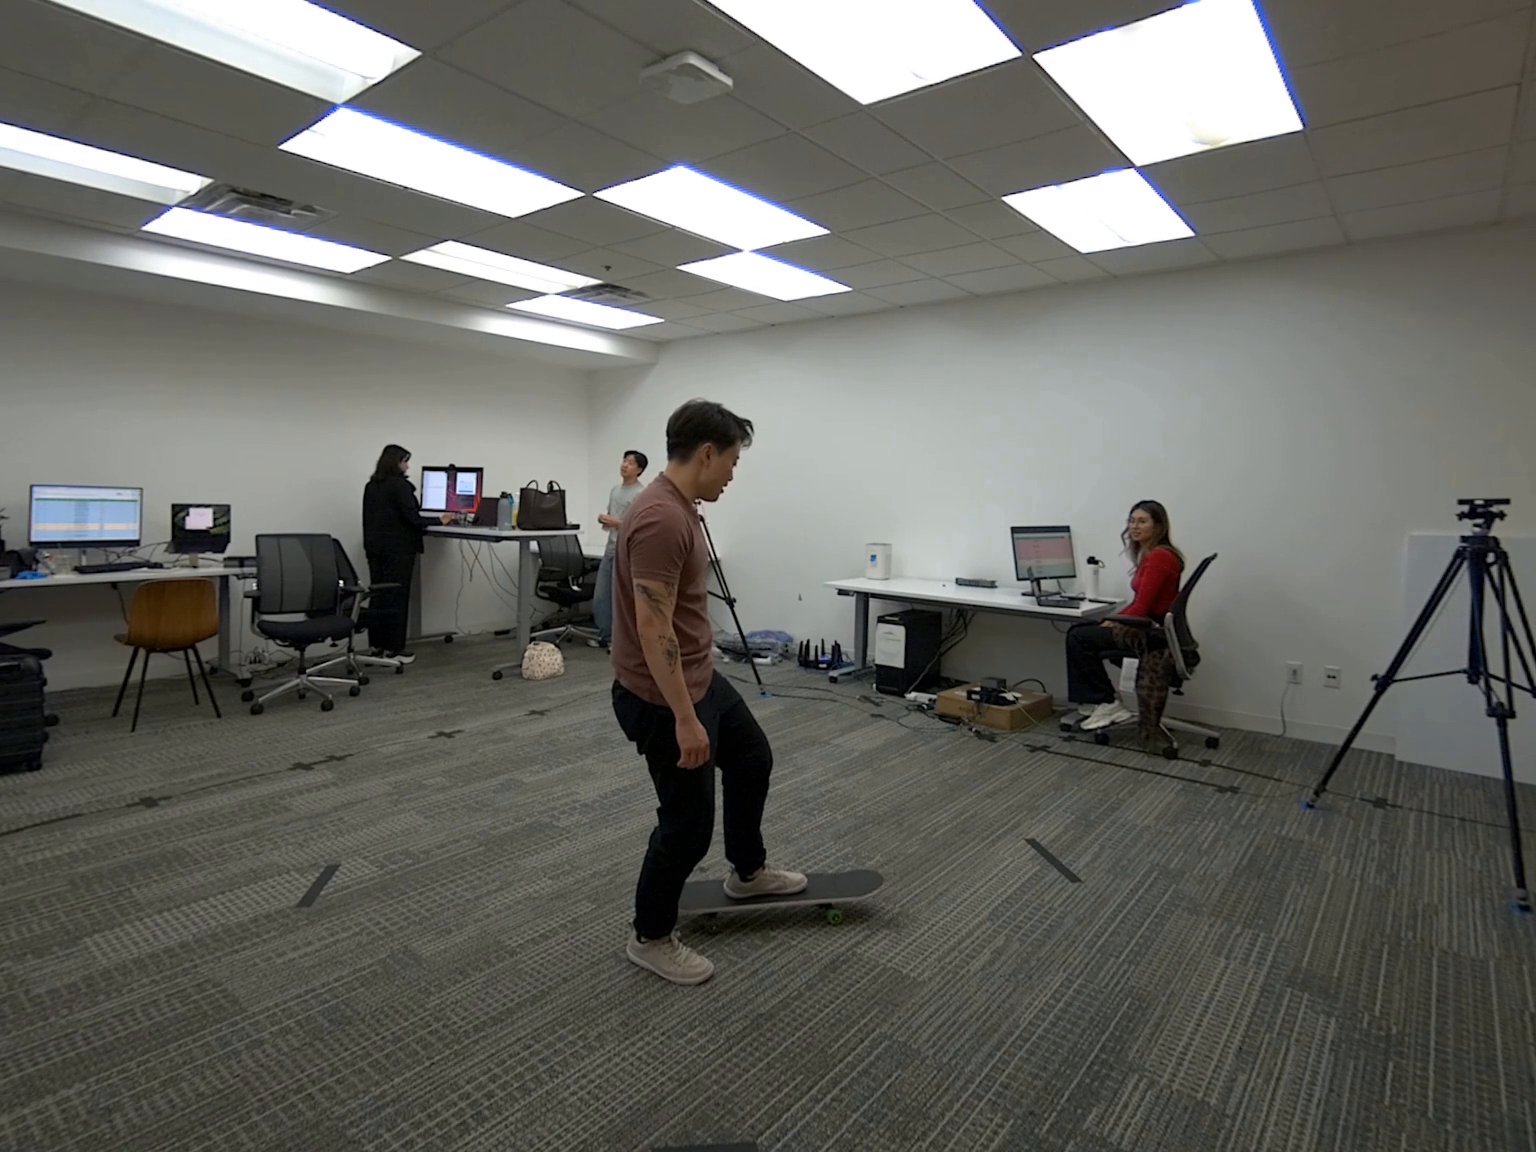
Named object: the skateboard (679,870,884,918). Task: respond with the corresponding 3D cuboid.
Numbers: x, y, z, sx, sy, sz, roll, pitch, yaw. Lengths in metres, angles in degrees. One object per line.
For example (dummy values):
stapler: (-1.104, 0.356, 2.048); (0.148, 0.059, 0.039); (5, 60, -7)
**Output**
skateboard: (-0.007, 1.050, 2.769); (0.776, 0.110, 0.196); (1, 5, -11)
